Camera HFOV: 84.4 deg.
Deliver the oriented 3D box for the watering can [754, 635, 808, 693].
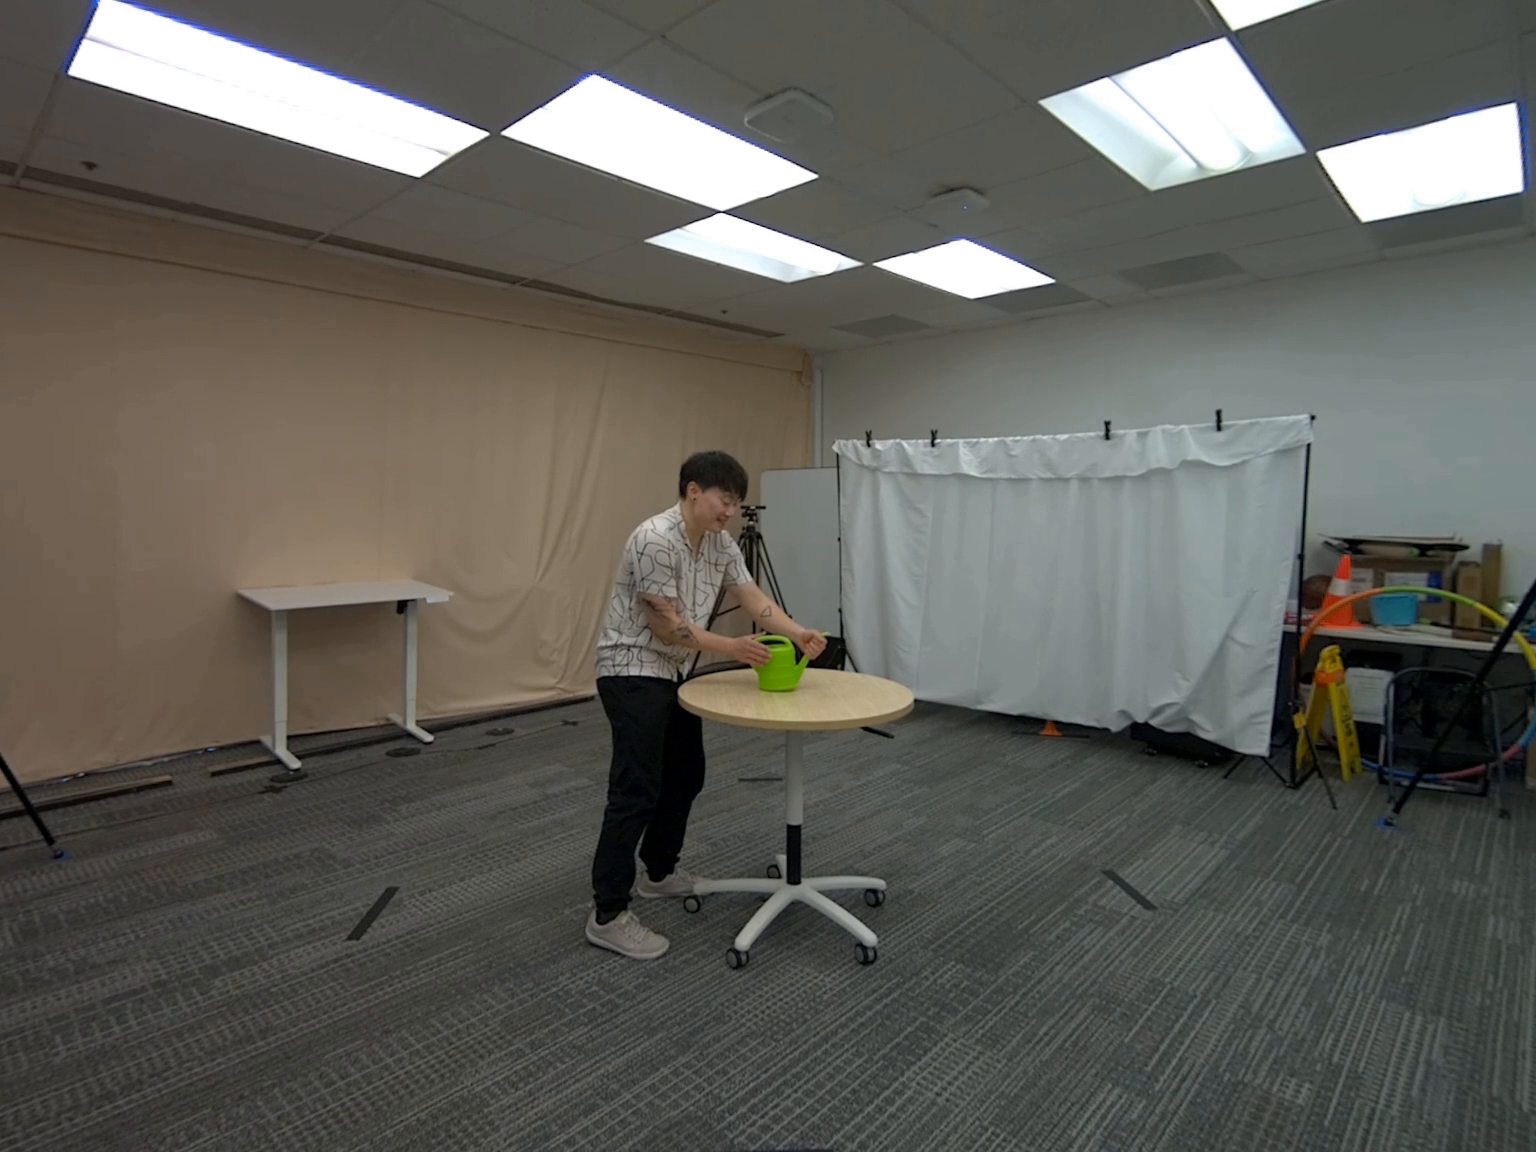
[{"bbox_3d":[0.069,0.280,2.756,0.285,0.177,0.095,-9,-4,31],"label":"watering can"}]
